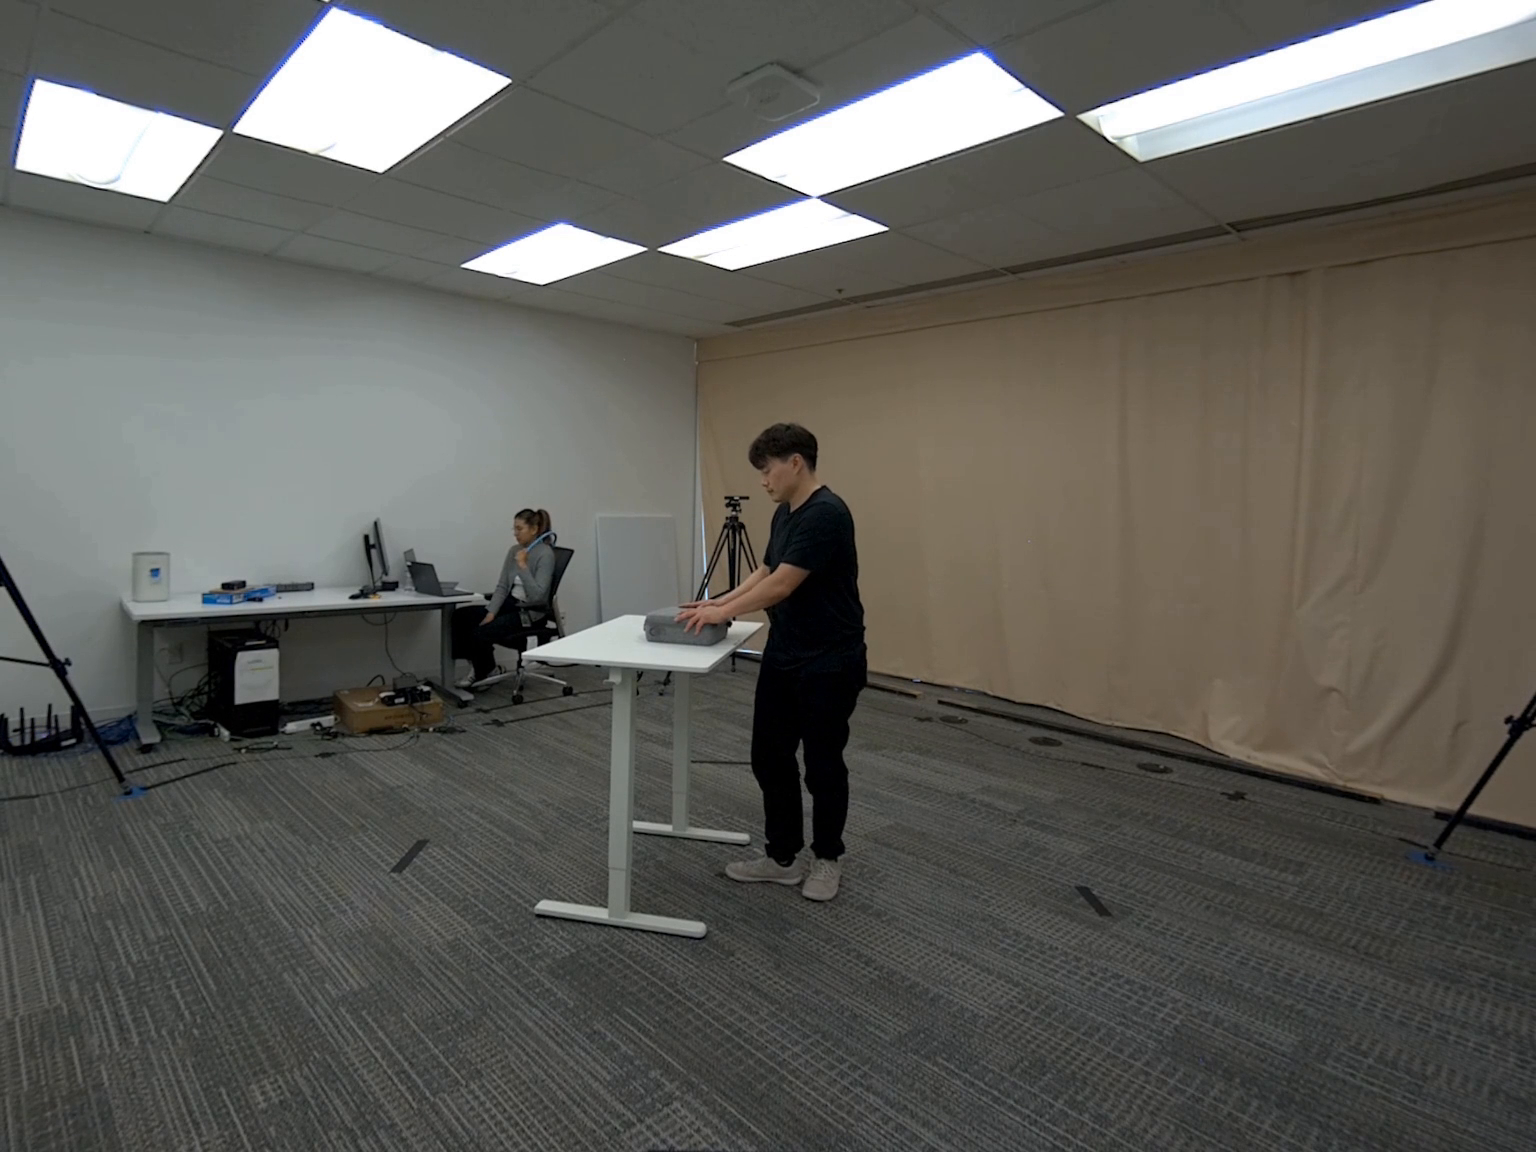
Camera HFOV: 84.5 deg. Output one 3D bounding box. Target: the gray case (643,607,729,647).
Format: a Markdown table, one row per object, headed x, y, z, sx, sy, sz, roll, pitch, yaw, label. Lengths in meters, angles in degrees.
| x | y | z | sx | sy | sz | roll | pitch | yaw | label |
| --- | --- | --- | --- | --- | --- | --- | --- | --- | --- |
| -0.298 | 0.176 | 3.023 | 0.264 | 0.104 | 0.255 | 3 | 6 | 13 | gray case |
